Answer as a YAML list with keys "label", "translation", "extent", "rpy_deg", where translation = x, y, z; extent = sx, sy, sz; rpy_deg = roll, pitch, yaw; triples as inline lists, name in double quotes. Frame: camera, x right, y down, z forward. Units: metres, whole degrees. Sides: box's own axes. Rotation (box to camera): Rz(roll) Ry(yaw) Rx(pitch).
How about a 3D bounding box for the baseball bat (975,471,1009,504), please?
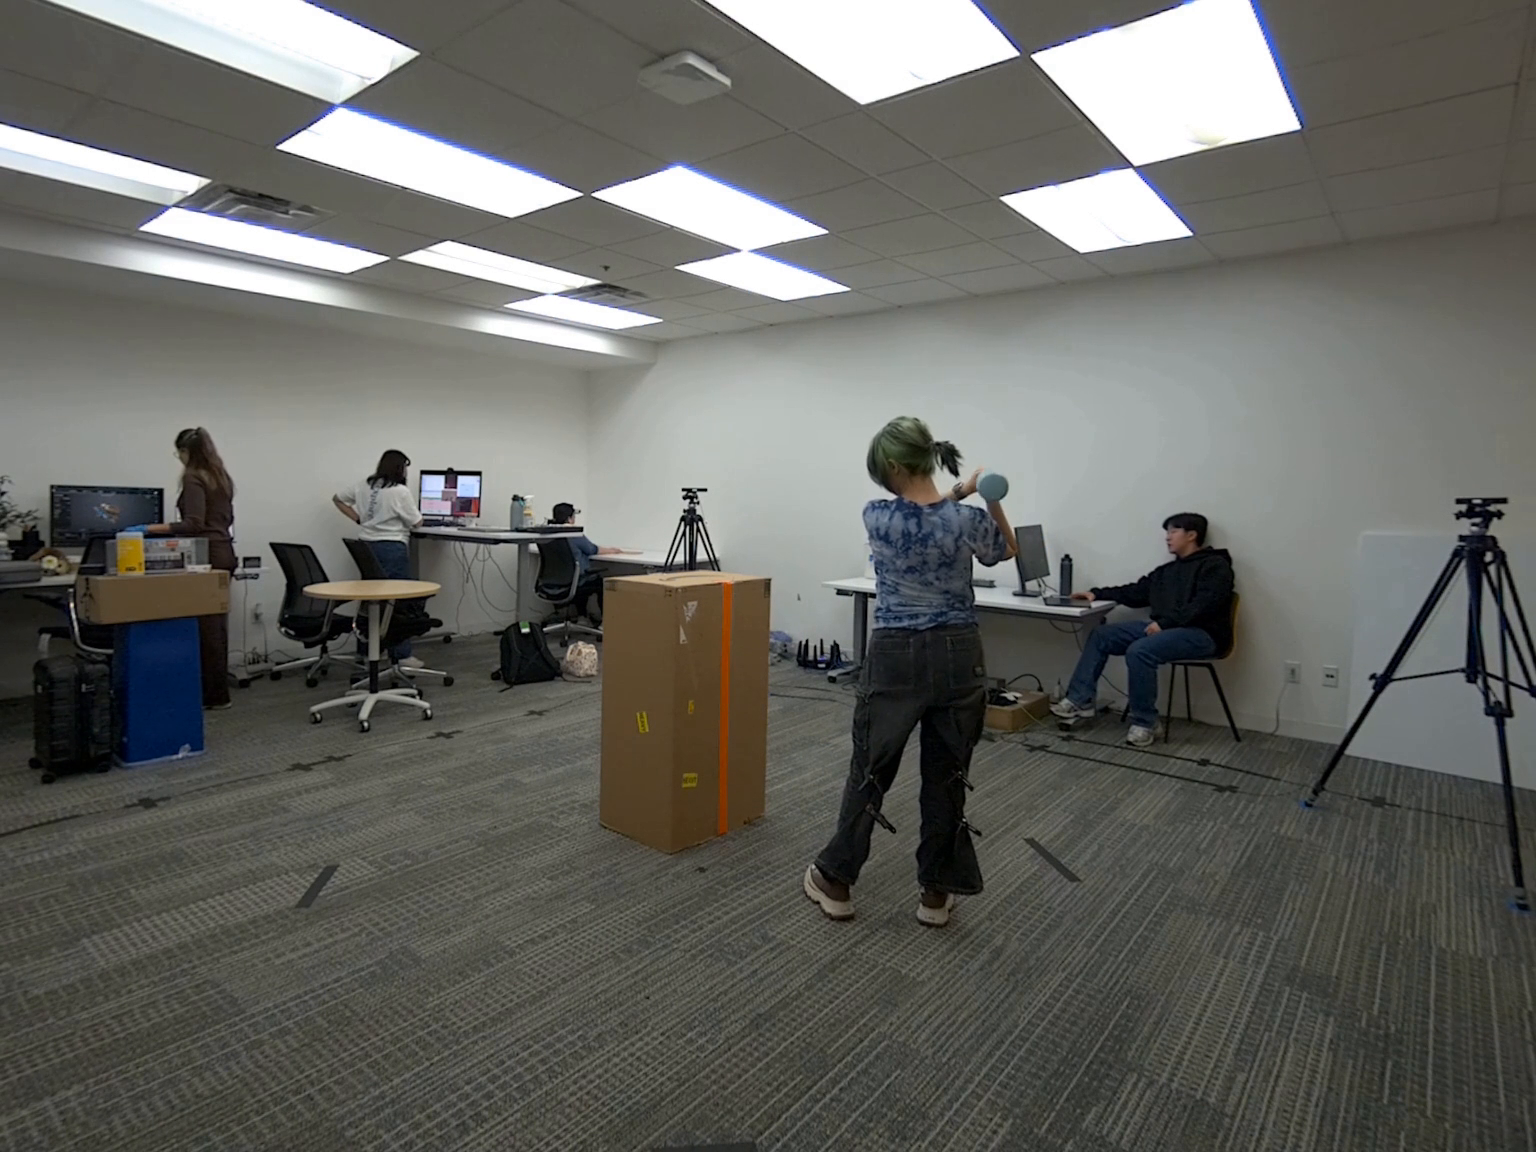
- label: "baseball bat"
  translation: [0.678, -0.301, 2.675]
  extent: [0.090, 0.088, 0.541]
  rpy_deg: [1, 10, 9]
